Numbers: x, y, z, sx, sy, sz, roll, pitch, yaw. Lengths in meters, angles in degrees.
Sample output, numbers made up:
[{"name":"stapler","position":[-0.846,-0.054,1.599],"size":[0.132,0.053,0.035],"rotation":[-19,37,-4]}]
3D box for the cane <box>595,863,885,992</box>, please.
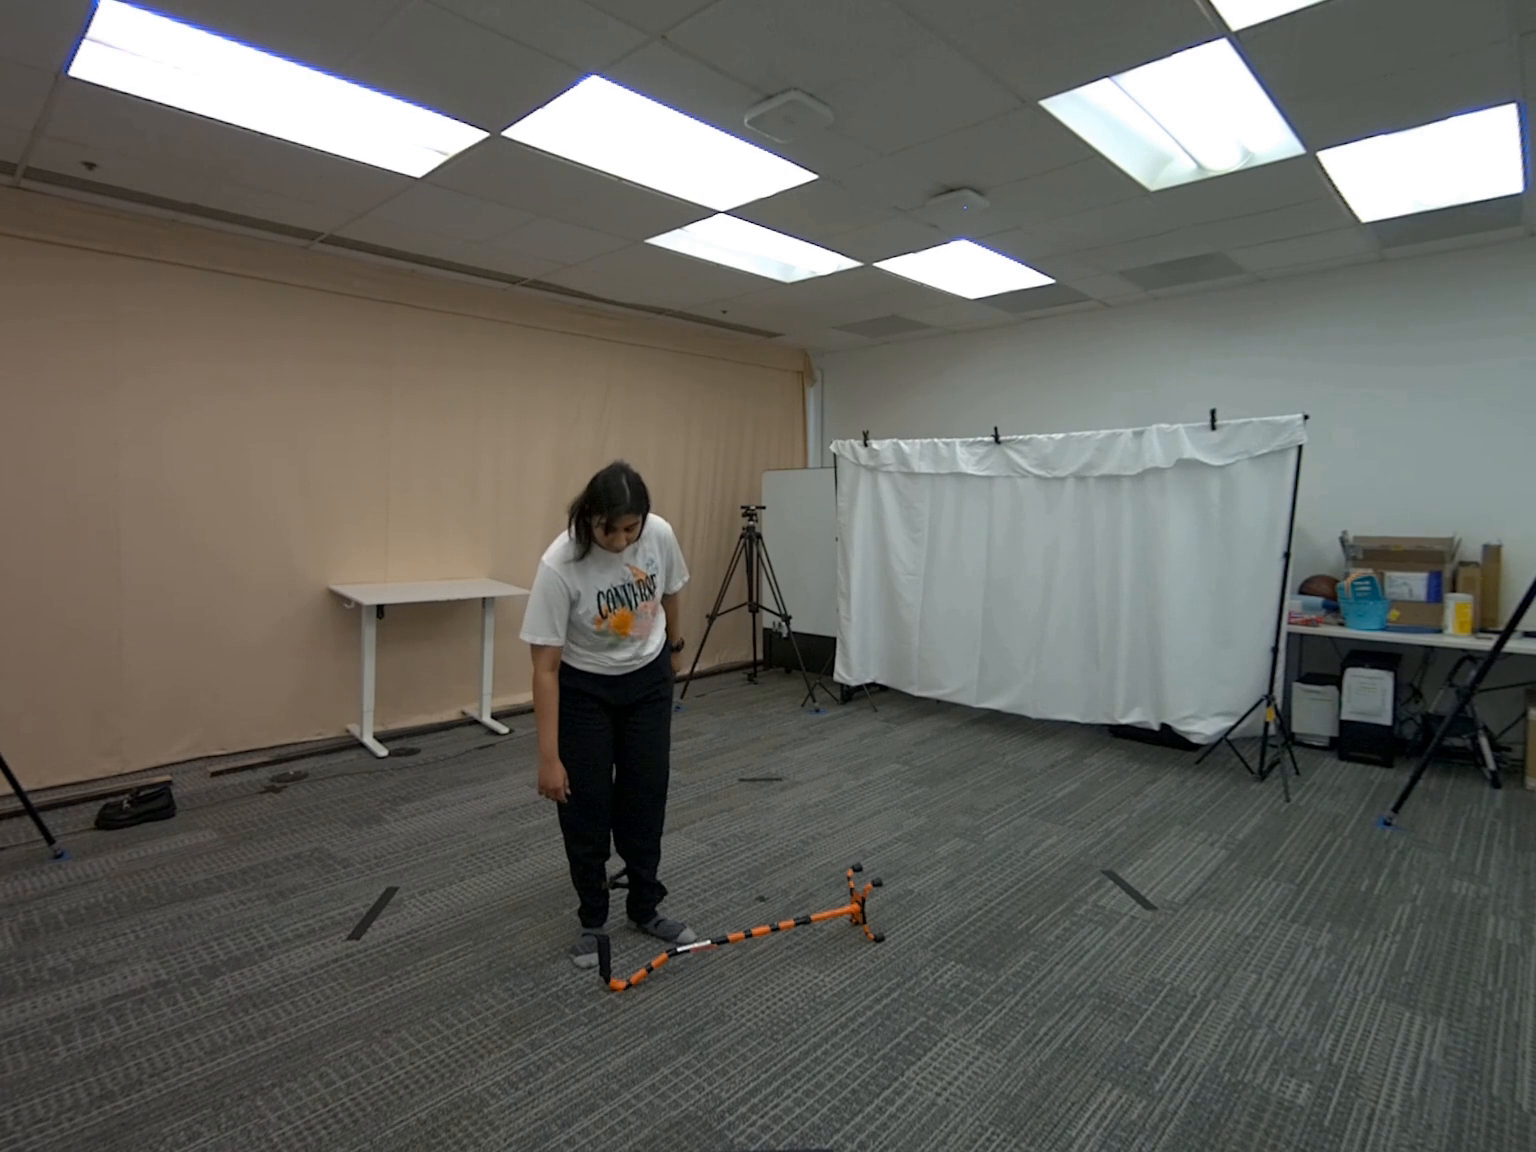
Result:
[{"name":"cane","position":[-0.062,1.085,2.582],"size":[0.889,0.205,0.155],"rotation":[-5,8,-22]}]
